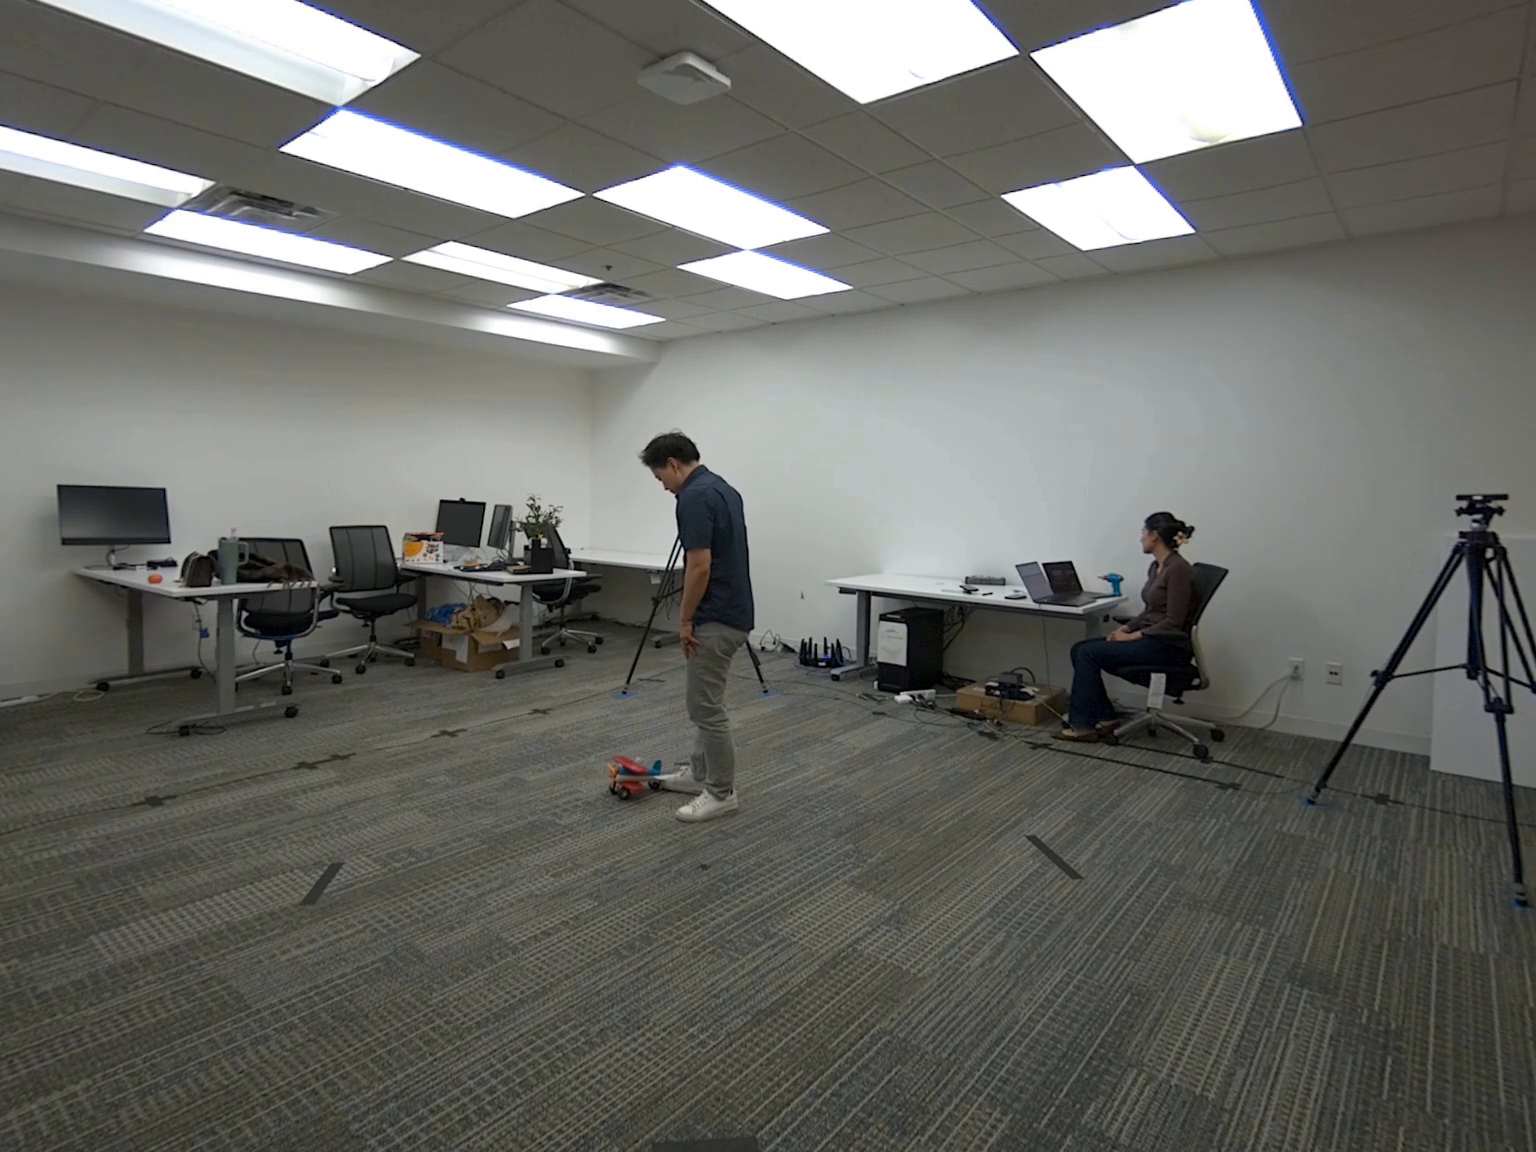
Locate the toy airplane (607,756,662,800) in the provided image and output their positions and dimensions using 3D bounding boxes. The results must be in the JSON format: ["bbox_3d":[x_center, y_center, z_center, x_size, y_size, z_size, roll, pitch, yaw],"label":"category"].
[{"bbox_3d":[-0.625,0.912,3.886,0.258,0.156,0.253,0,6,28],"label":"toy airplane"}]
